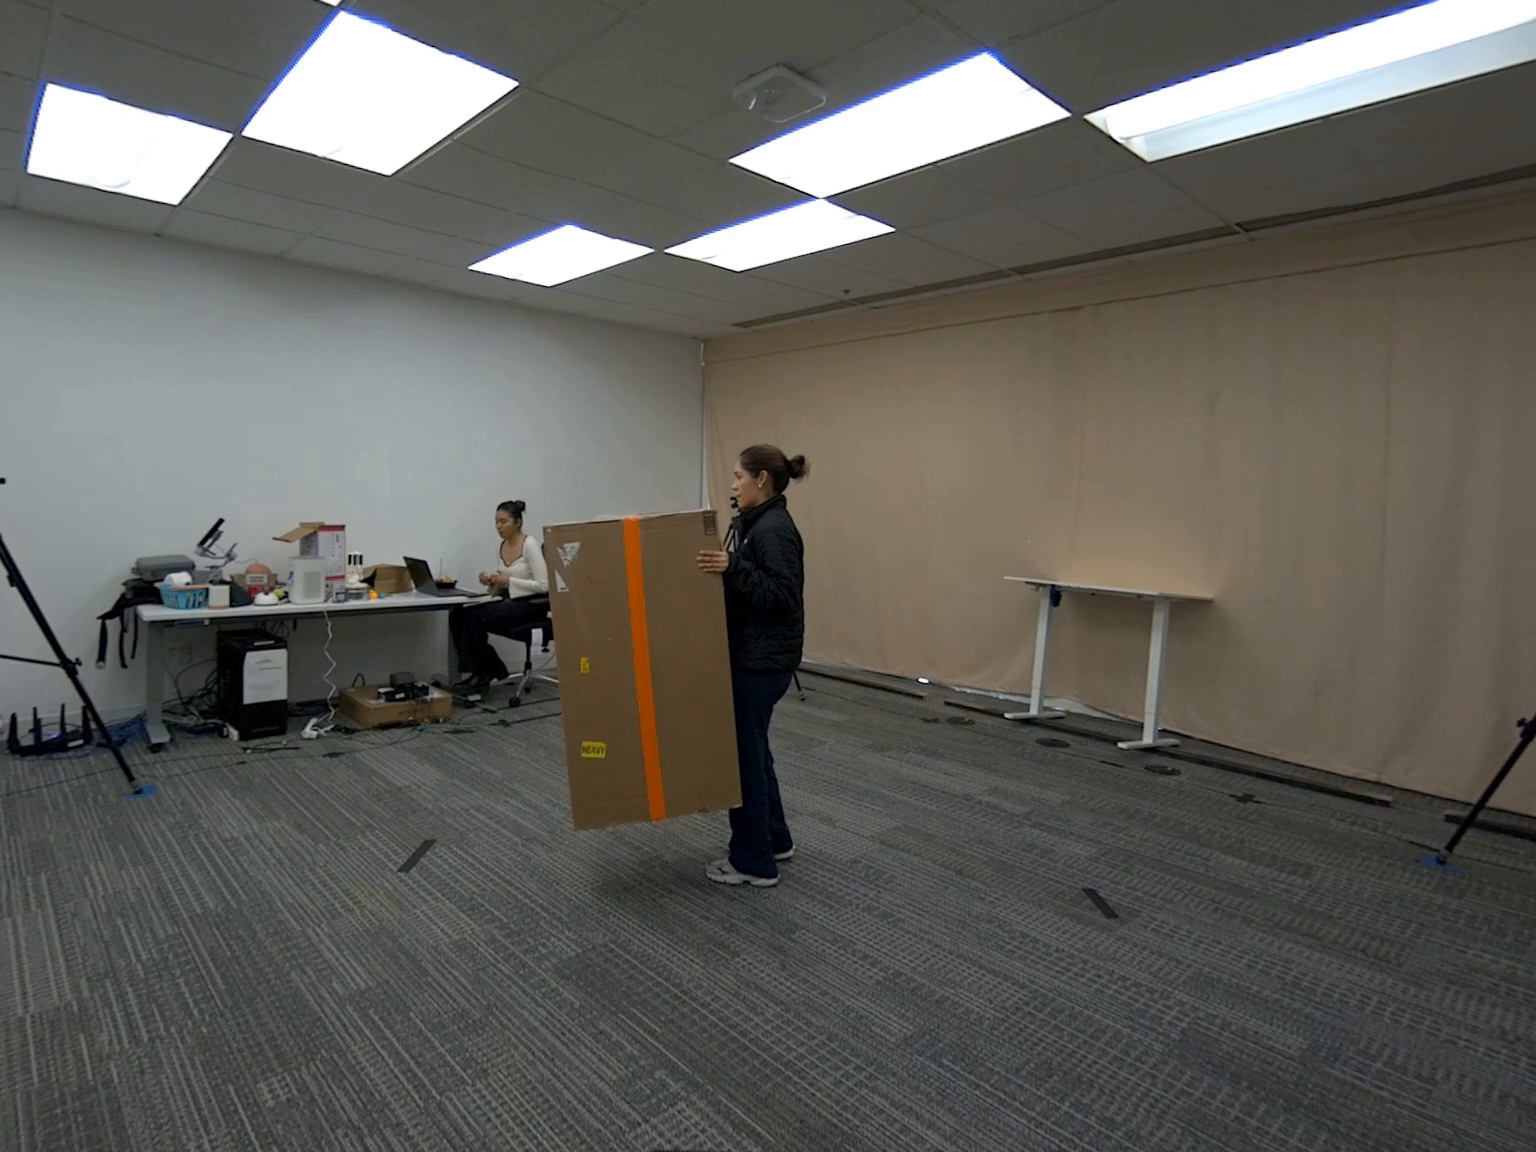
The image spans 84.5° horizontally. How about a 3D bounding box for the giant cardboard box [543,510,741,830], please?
[{"bbox_3d":[-0.455,0.302,3.007,0.574,1.023,0.430,-5,3,-8],"label":"giant cardboard box"}]
